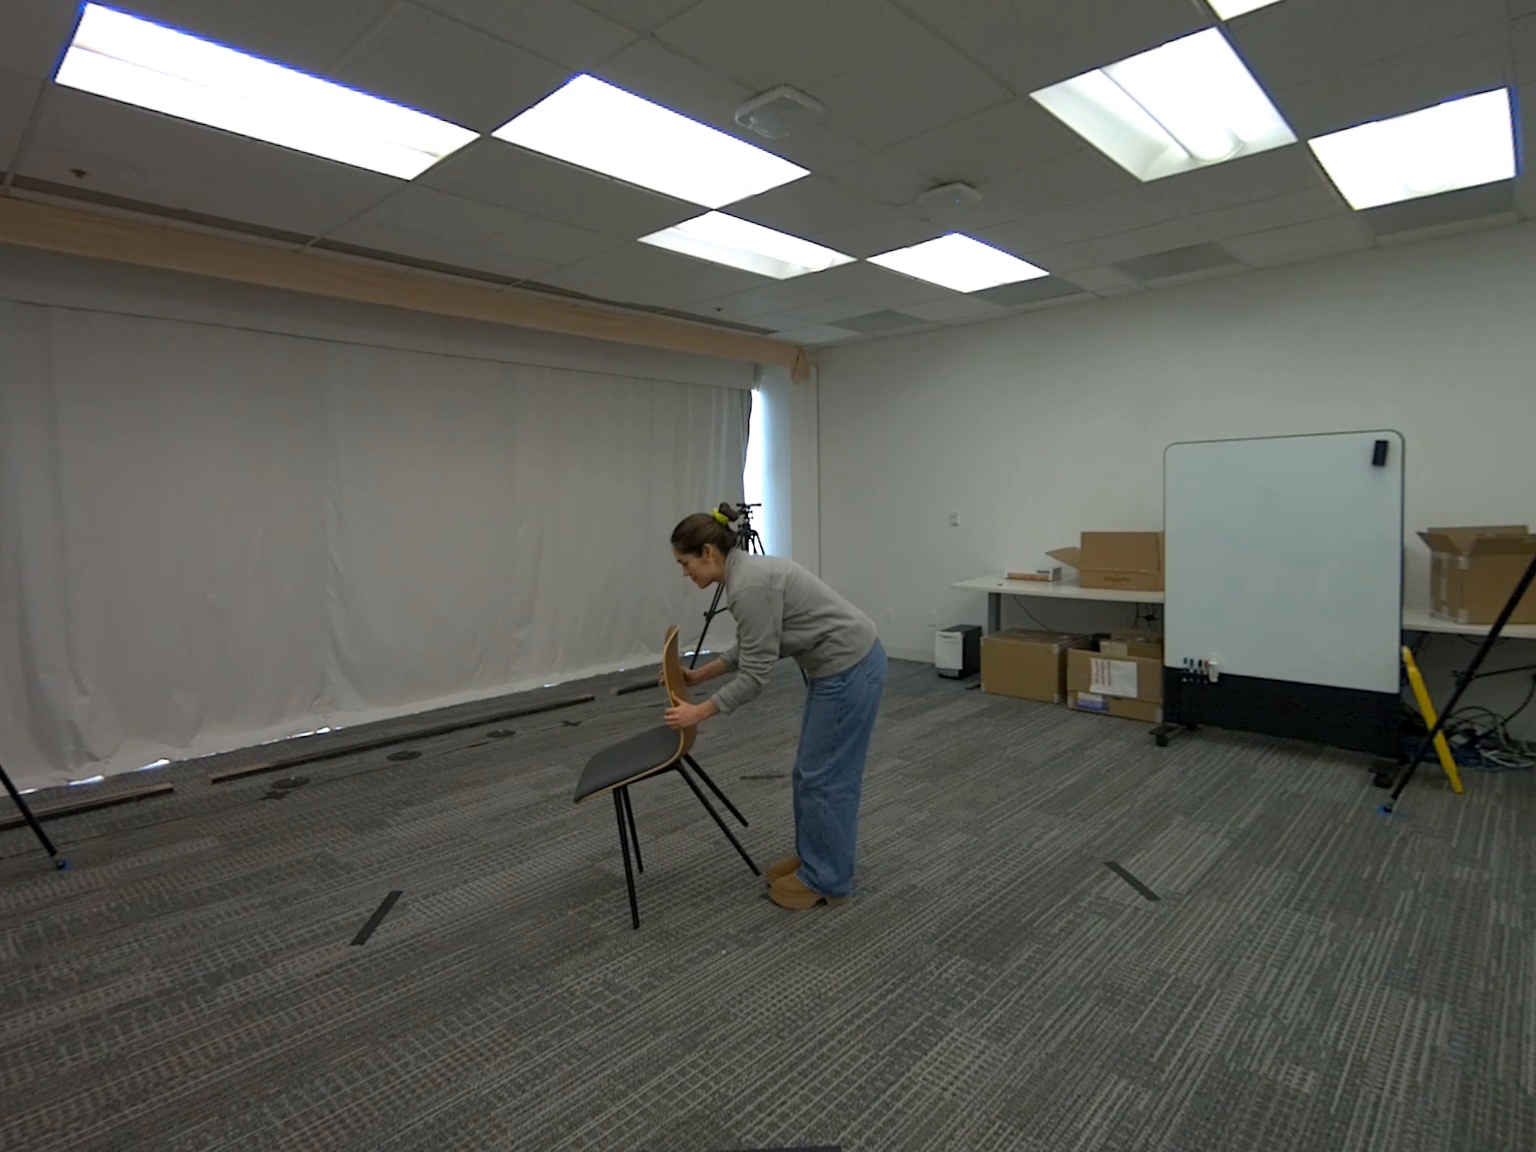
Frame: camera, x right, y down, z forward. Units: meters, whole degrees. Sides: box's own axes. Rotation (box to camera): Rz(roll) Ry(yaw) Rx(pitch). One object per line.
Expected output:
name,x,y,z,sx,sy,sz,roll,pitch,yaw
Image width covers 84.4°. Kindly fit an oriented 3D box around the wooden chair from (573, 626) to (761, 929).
wooden chair,-0.421,0.674,2.966,0.522,0.874,0.481,-18,4,-4
